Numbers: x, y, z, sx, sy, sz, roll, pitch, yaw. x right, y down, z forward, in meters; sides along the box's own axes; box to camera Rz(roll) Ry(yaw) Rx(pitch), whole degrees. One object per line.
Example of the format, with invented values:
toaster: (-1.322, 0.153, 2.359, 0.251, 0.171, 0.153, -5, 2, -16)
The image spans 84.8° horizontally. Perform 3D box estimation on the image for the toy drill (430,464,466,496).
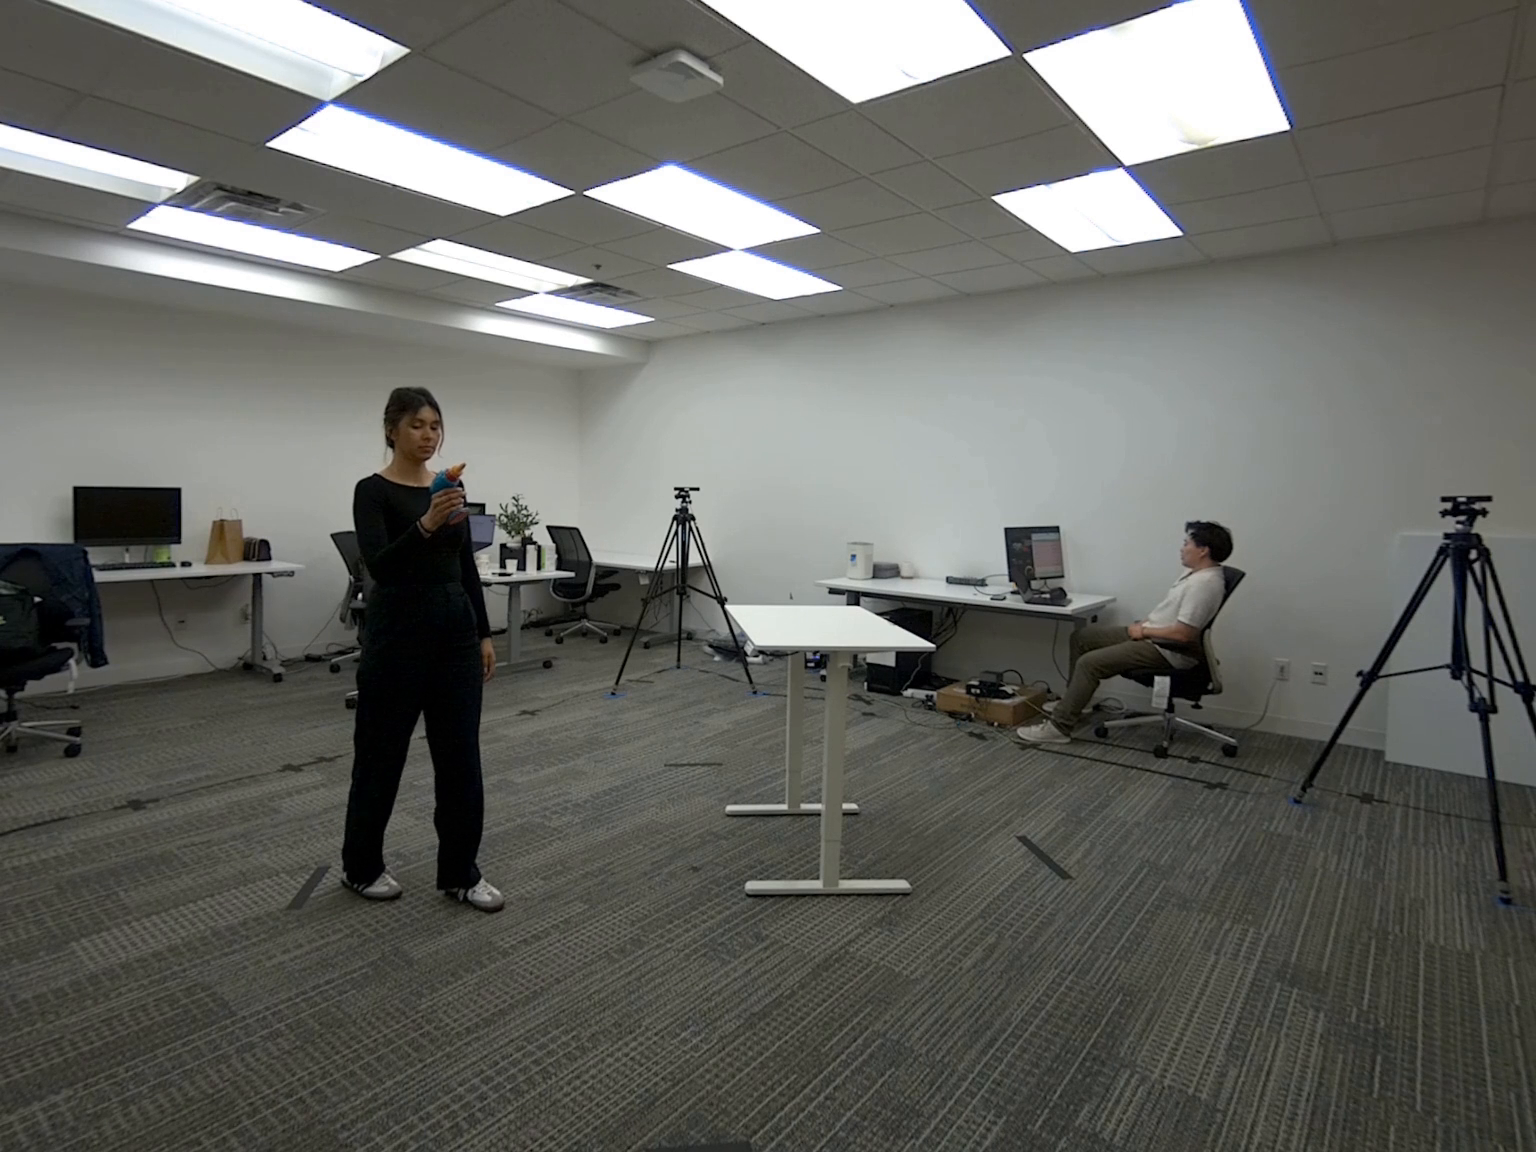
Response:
toy drill: (-0.920, -0.251, 2.444, 0.171, 0.147, 0.060, -32, -8, 27)
